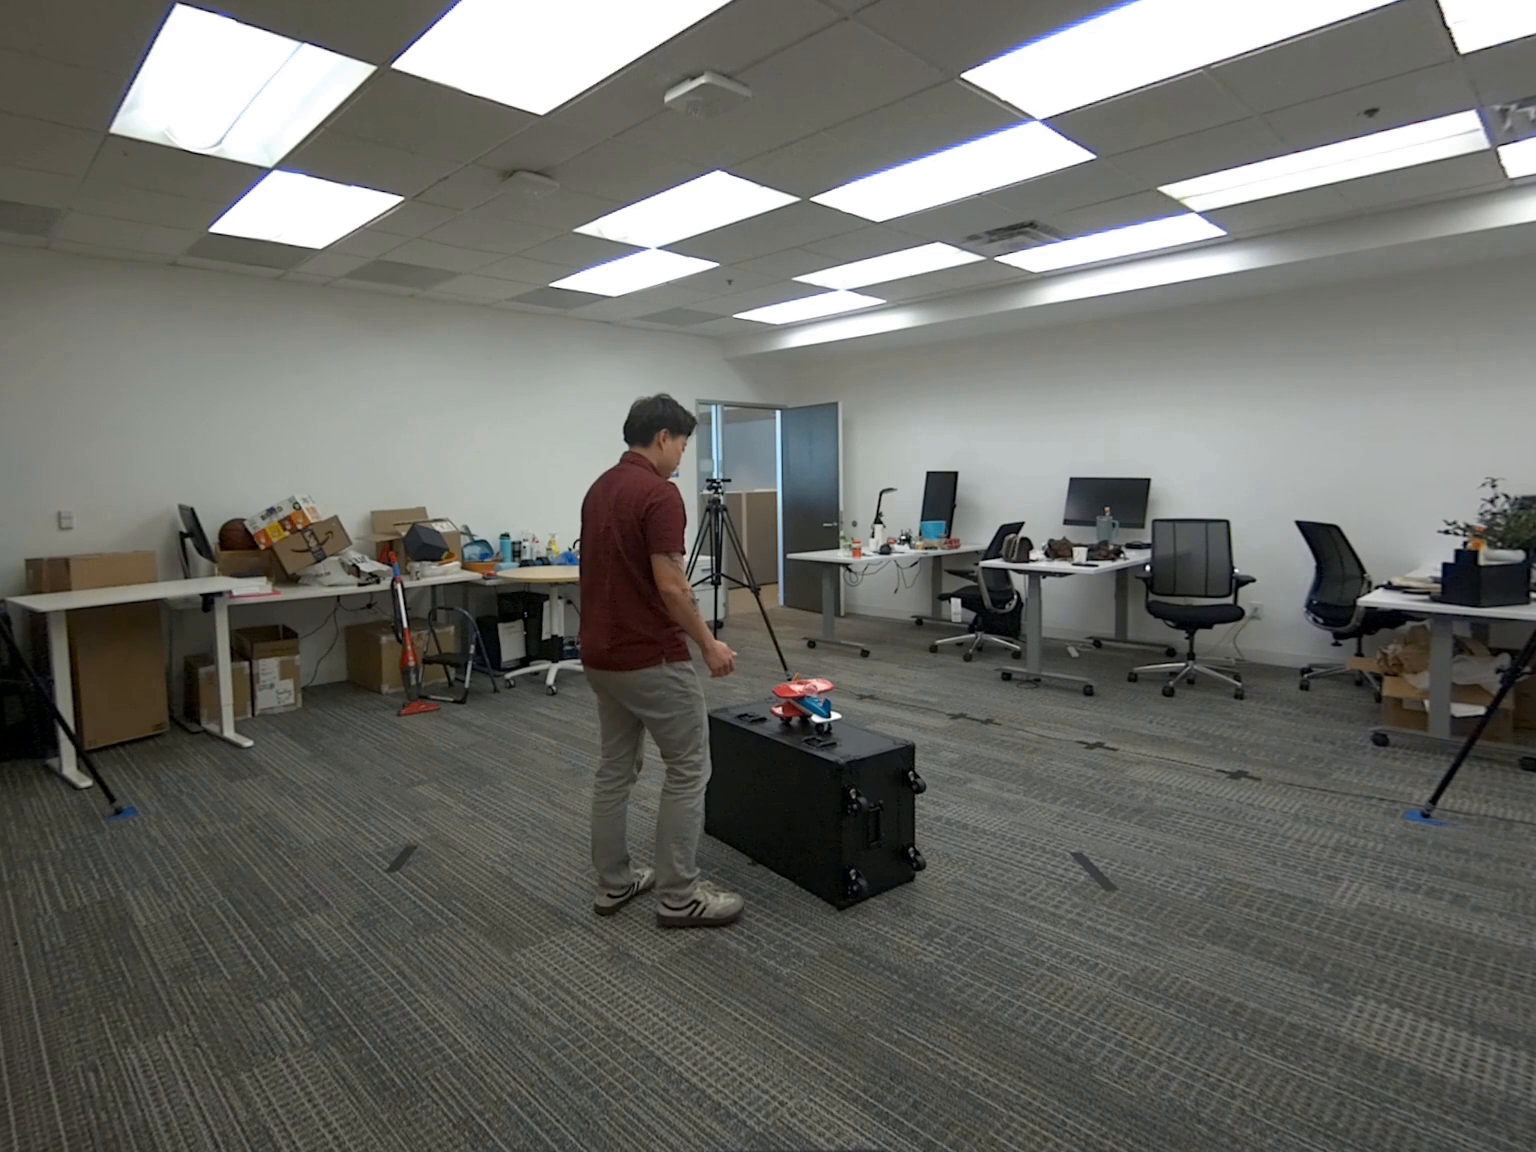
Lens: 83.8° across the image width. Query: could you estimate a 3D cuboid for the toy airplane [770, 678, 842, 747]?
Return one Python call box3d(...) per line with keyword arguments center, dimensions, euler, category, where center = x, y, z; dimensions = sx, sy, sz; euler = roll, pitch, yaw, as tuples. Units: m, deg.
box3d(center=(0.163, 0.476, 3.150), dimensions=(0.266, 0.156, 0.246), euler=(0, 6, 30), category="toy airplane")
